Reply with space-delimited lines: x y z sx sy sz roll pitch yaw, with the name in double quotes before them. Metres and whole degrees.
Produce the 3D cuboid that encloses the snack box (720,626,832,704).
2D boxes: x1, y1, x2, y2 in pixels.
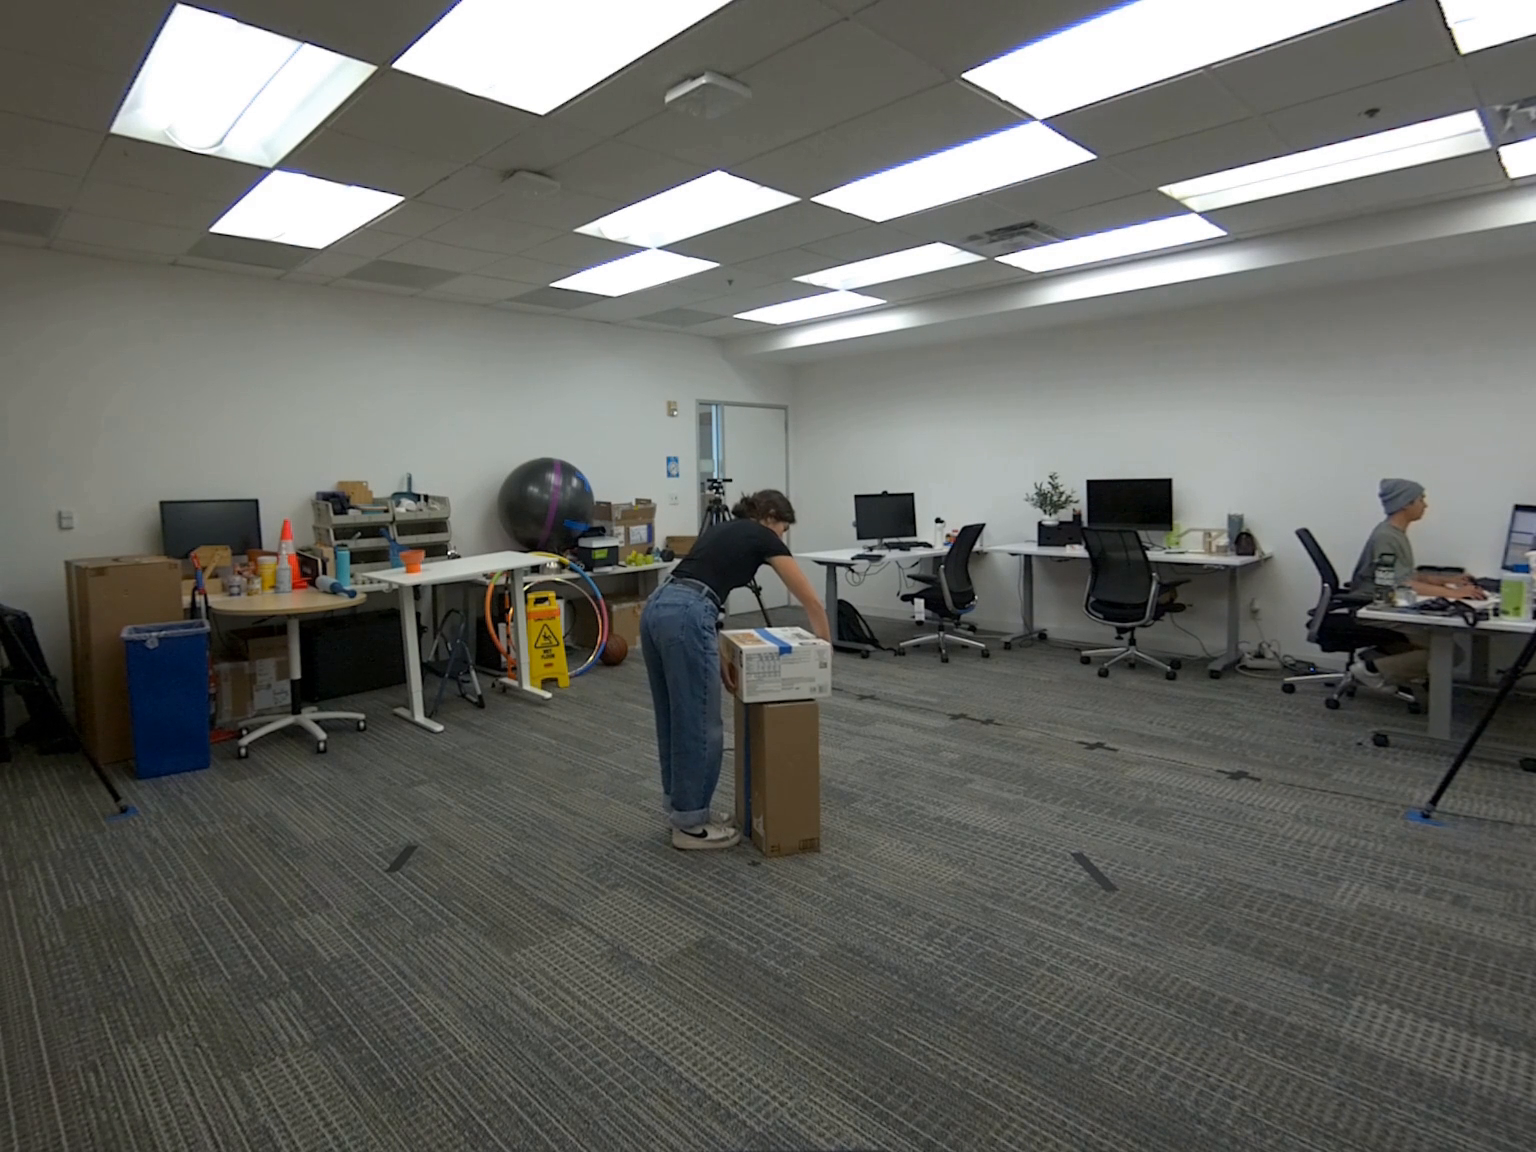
"snack box" 0.020 0.334 3.340 0.336 0.205 0.412 -3 6 -14
